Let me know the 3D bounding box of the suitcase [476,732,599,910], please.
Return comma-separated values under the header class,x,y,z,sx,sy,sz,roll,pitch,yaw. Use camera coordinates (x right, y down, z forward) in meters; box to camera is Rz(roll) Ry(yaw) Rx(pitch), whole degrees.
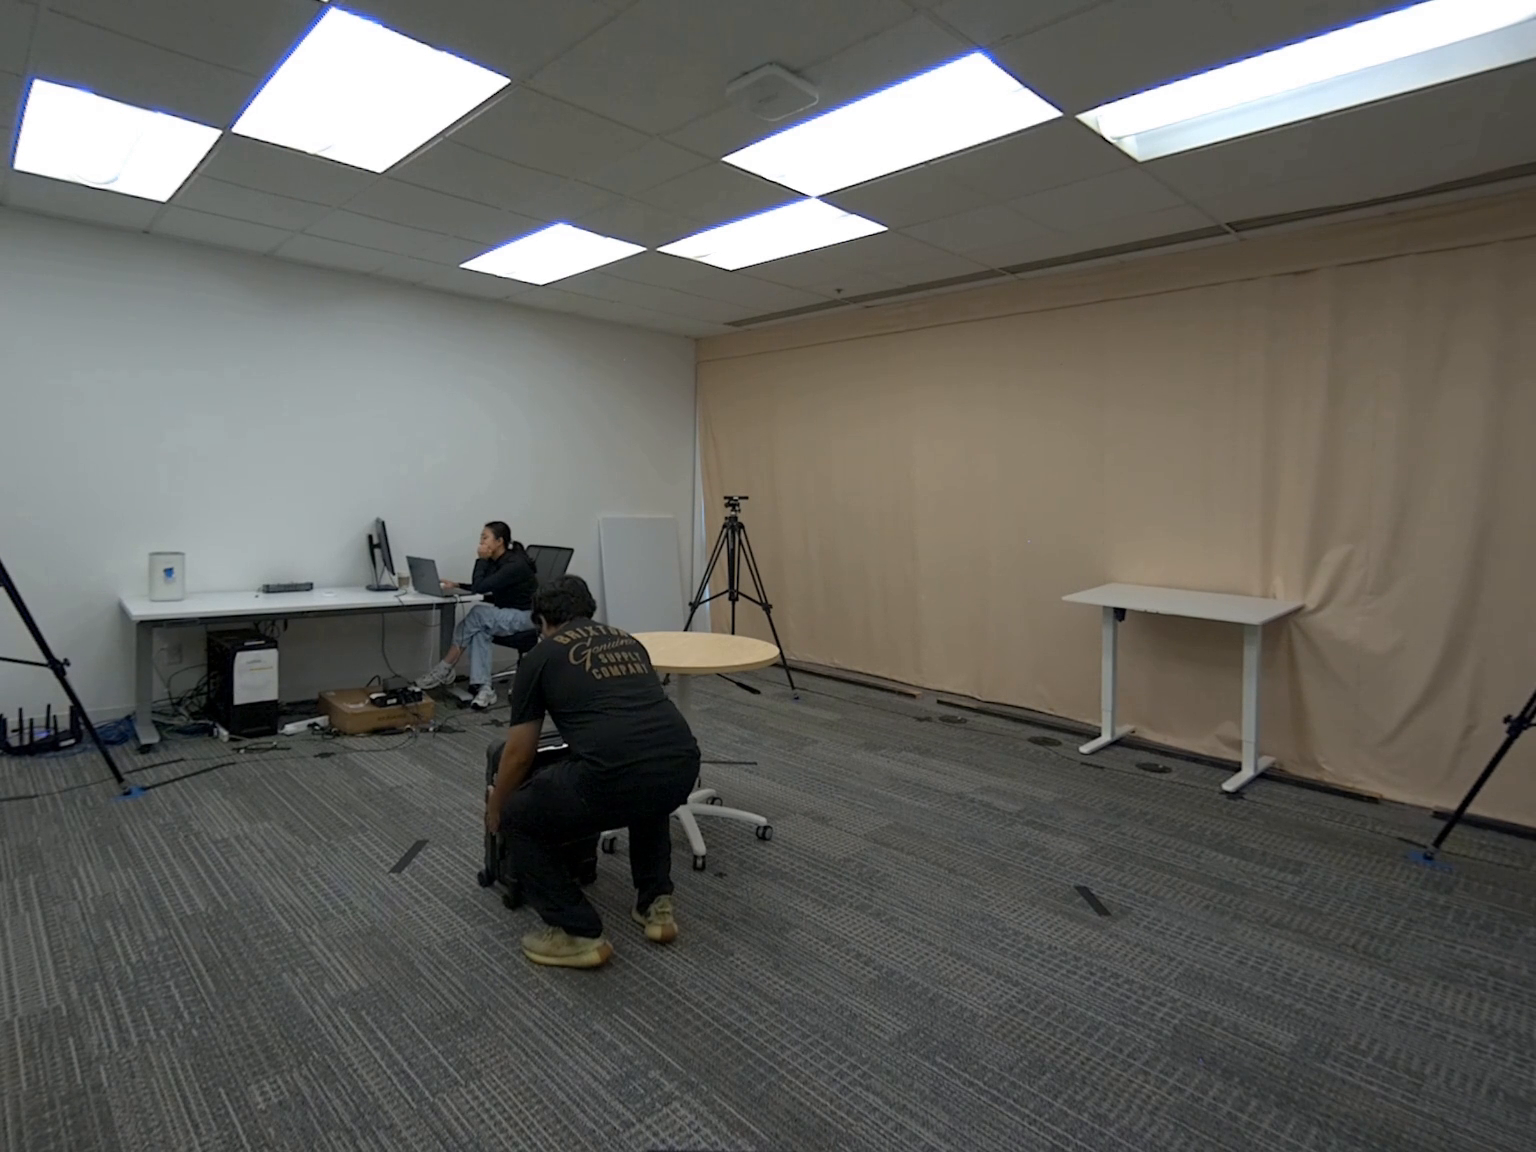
class,x,y,z,sx,sy,sz,roll,pitch,yaw
suitcase,-0.811,0.830,2.972,0.367,0.548,0.254,-2,5,-40
